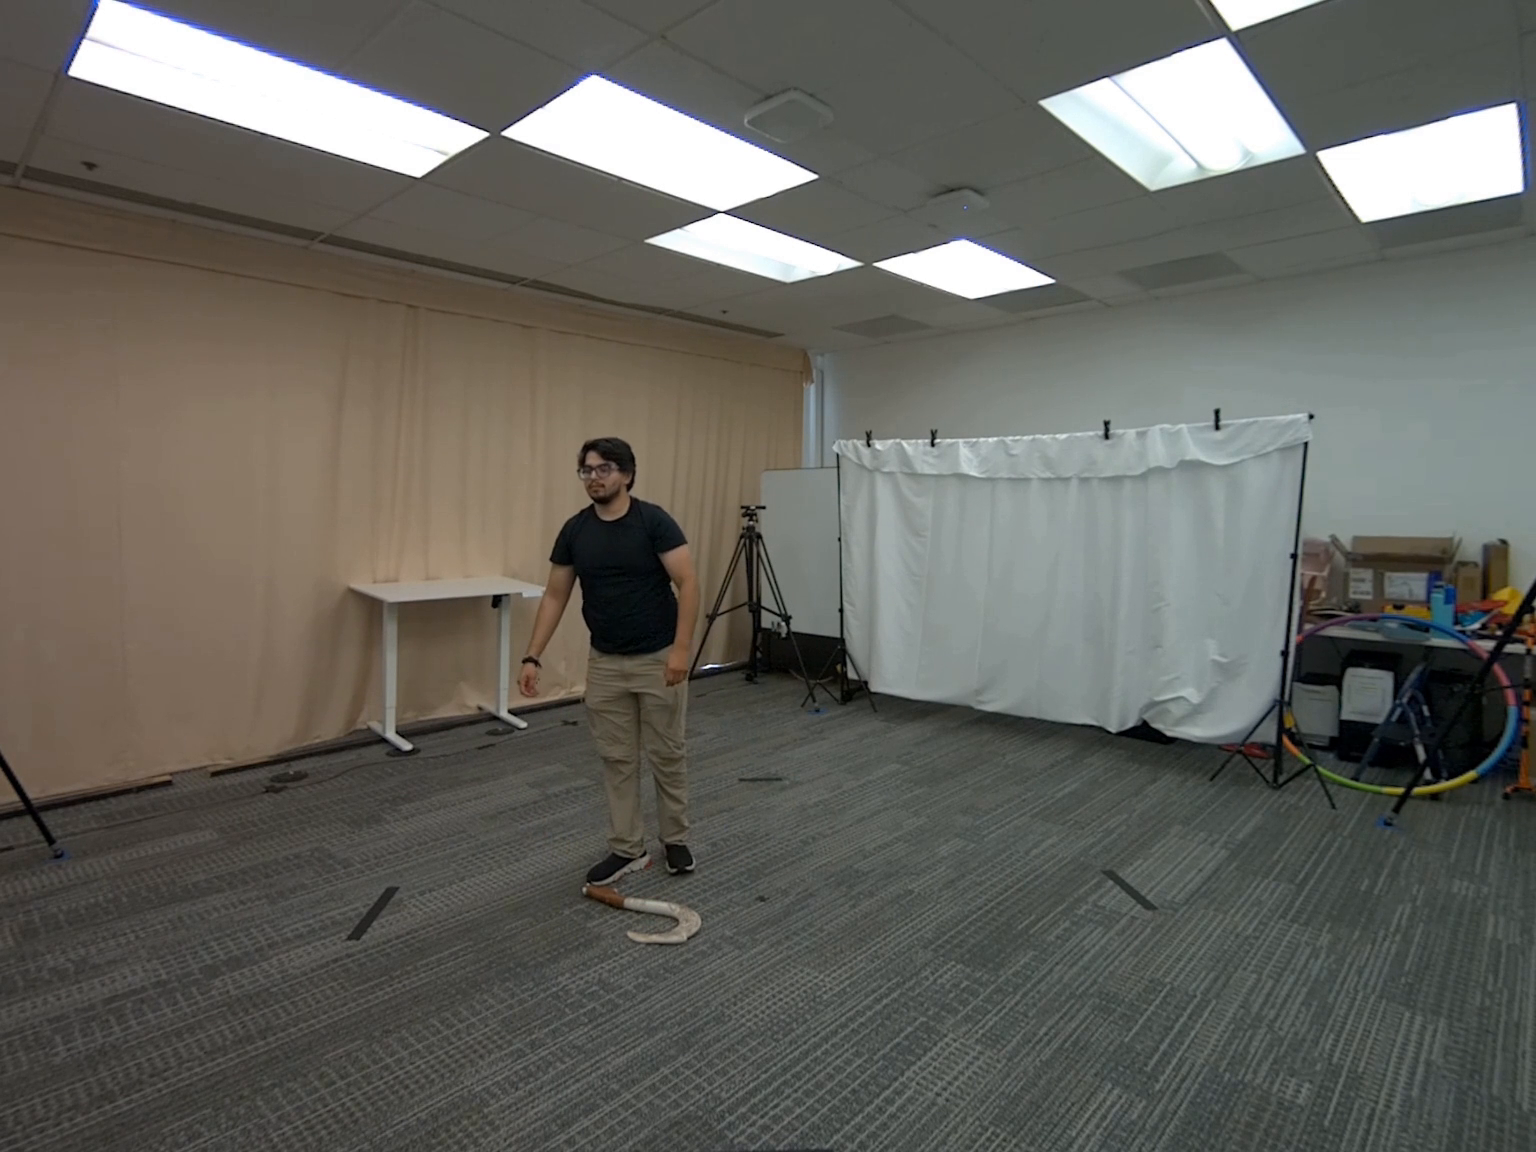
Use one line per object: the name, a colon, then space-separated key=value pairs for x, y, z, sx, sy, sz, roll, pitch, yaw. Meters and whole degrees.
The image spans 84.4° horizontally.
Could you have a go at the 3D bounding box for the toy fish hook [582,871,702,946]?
toy fish hook: x=-0.461 y=1.137 z=2.842 sx=0.521 sy=0.048 sz=0.218 roll=2 pitch=4 yaw=31
